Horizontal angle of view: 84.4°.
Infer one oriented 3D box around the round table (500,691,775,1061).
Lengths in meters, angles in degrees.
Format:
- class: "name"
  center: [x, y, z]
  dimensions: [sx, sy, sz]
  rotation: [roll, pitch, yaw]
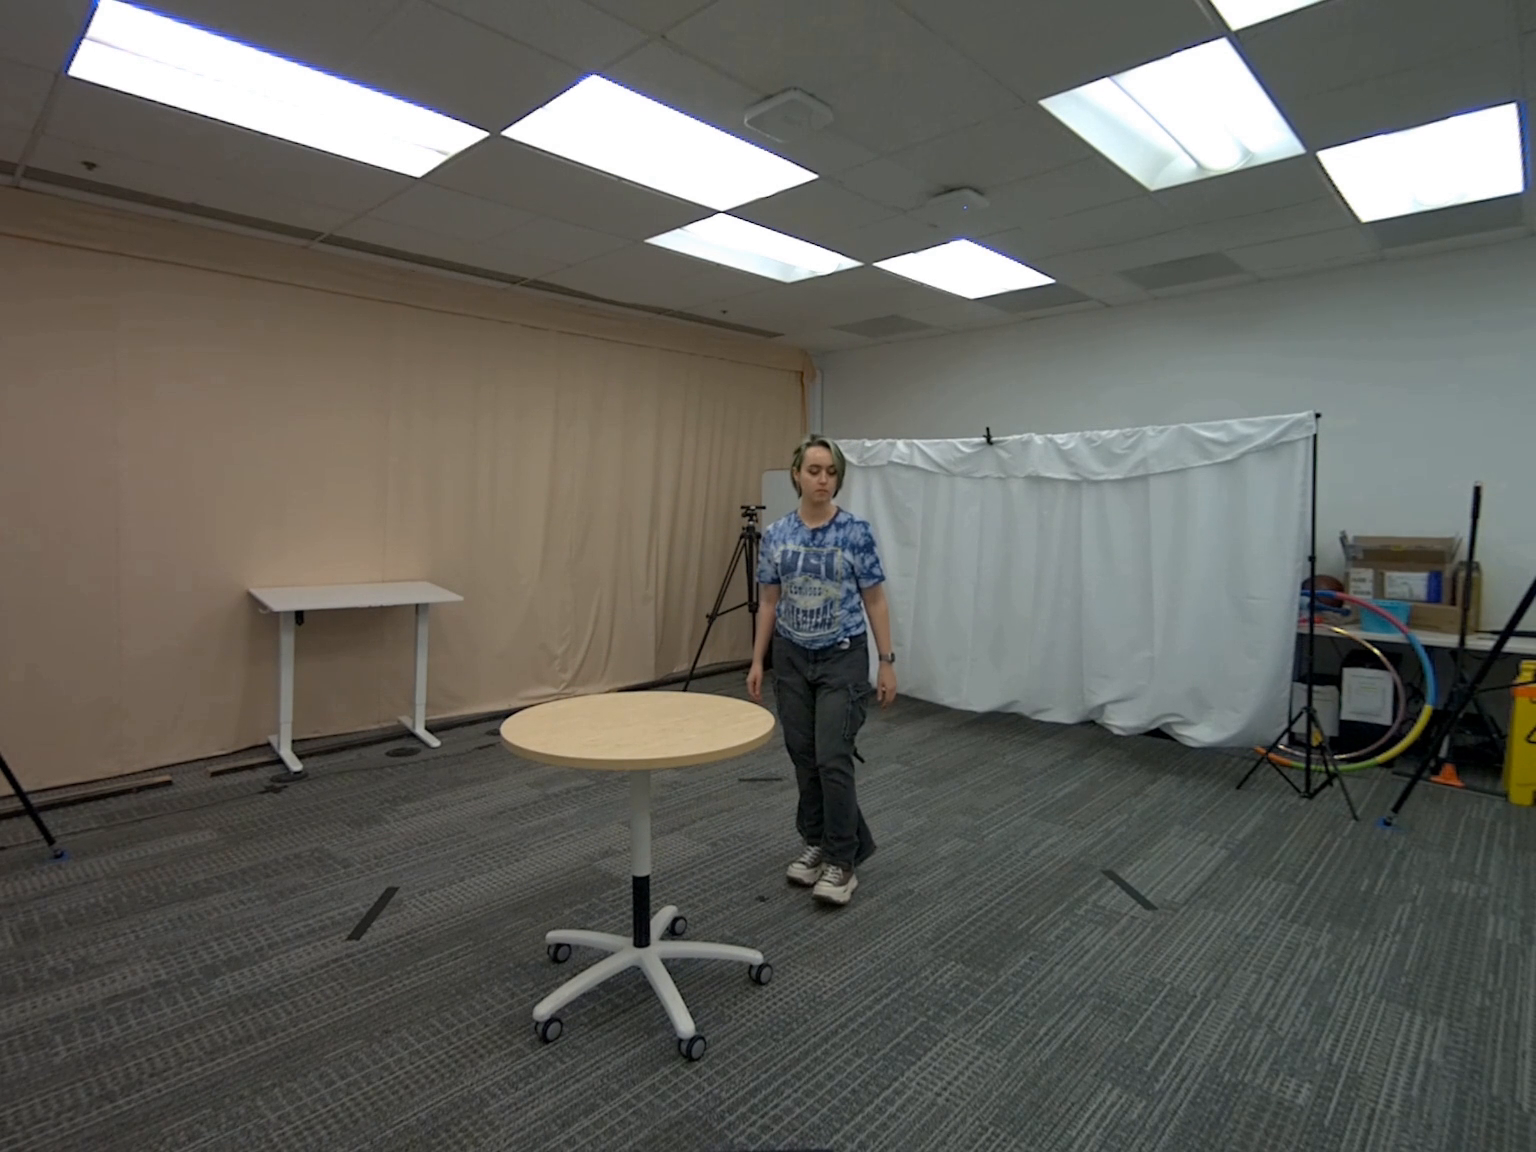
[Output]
- class: "round table"
  center: [-0.363, 0.808, 2.393]
  dimensions: [0.763, 0.792, 0.767]
  rotation: [-1, 4, -2]
